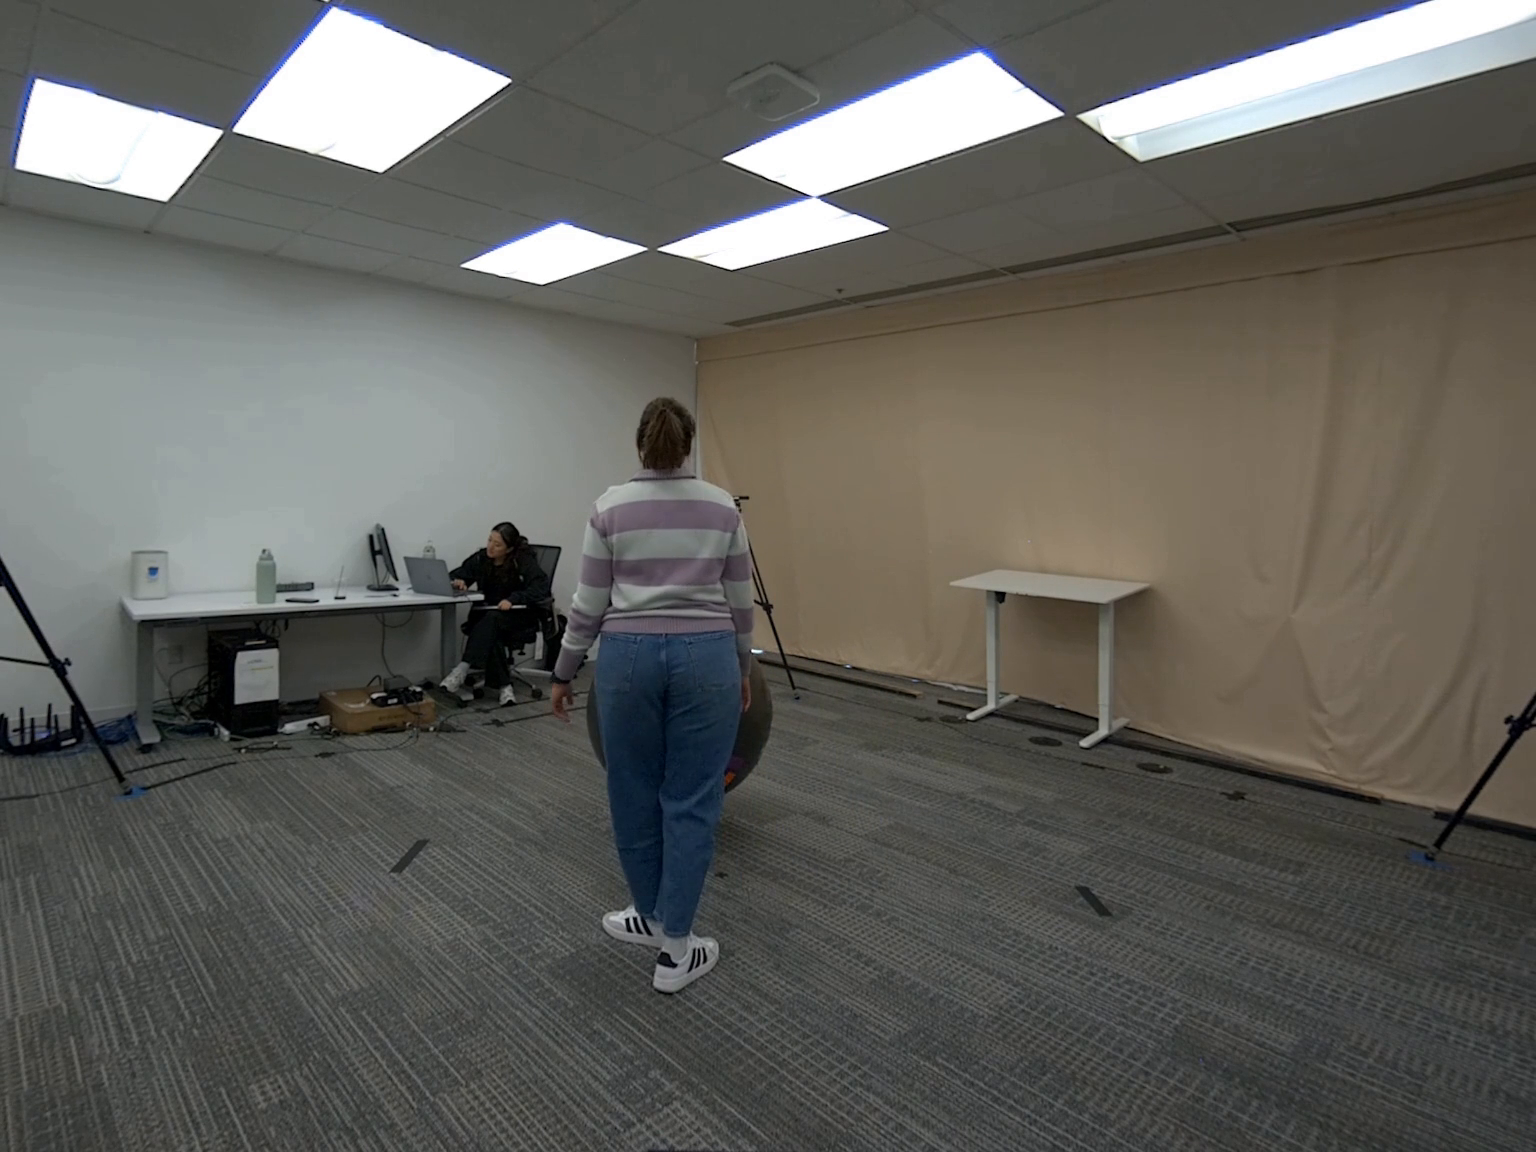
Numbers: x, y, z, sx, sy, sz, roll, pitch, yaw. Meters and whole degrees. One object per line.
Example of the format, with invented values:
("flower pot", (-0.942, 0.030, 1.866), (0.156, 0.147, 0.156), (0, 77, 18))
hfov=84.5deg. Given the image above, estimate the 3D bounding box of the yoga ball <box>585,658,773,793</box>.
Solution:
("yoga ball", (-0.365, 0.562, 3.459), (0.757, 0.756, 0.761), (1, 4, -1))
